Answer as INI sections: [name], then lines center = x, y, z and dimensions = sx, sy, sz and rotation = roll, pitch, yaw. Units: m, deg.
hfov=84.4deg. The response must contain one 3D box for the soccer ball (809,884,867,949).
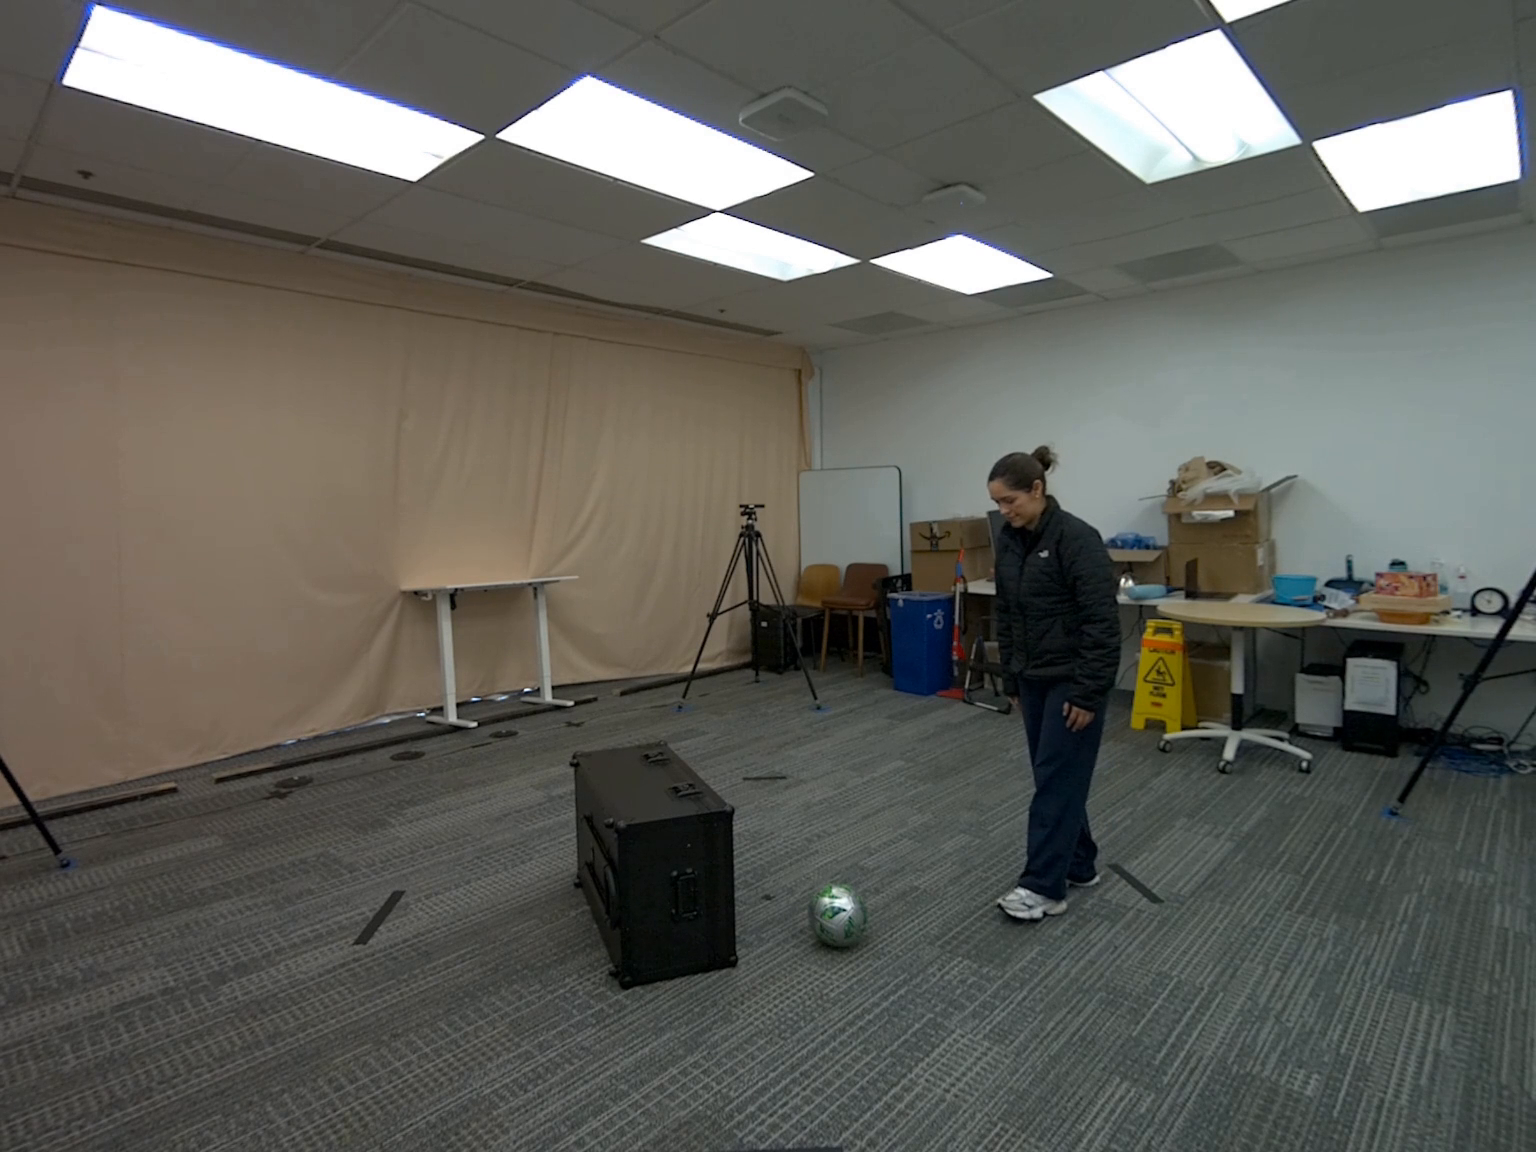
[soccer ball]
center = 0.223, 1.072, 2.656
dimensions = 0.187, 0.187, 0.188
rotation = -1, 4, -2
